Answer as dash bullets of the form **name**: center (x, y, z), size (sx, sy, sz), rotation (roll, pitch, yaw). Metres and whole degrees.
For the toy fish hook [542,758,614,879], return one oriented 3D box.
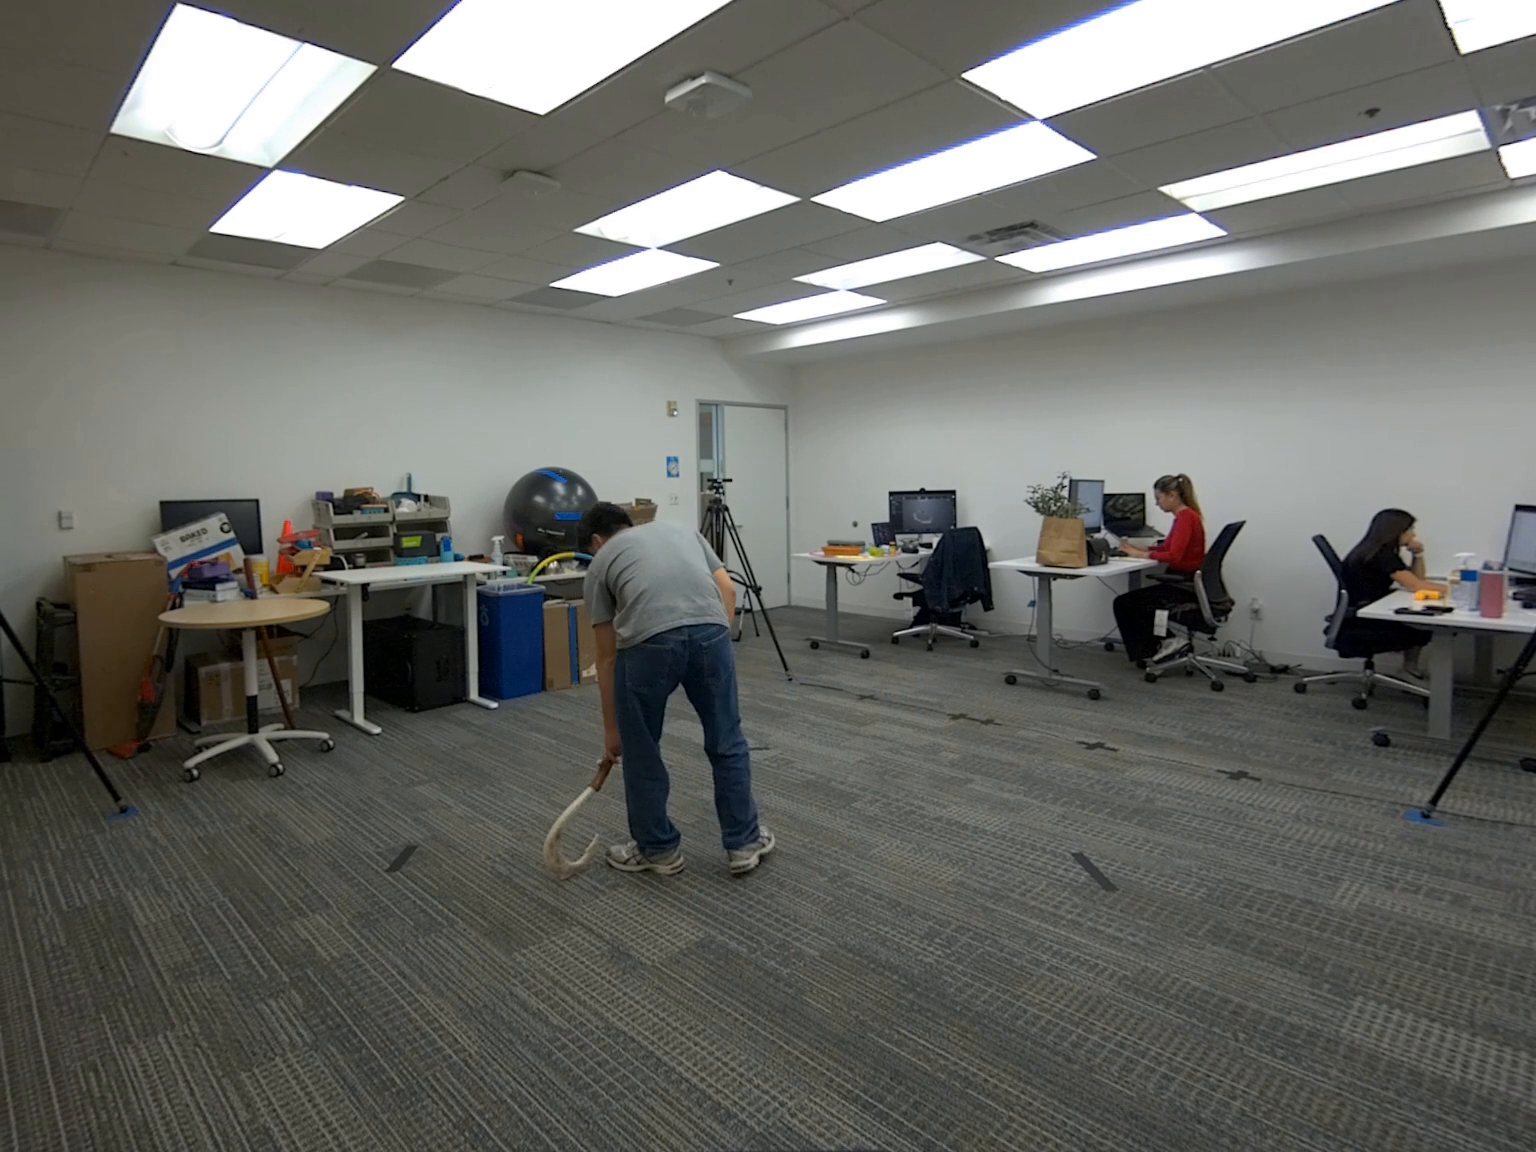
- **toy fish hook**: center (-0.633, 0.846, 3.106), size (0.050, 0.510, 0.216), rotation (4, -40, 40)
